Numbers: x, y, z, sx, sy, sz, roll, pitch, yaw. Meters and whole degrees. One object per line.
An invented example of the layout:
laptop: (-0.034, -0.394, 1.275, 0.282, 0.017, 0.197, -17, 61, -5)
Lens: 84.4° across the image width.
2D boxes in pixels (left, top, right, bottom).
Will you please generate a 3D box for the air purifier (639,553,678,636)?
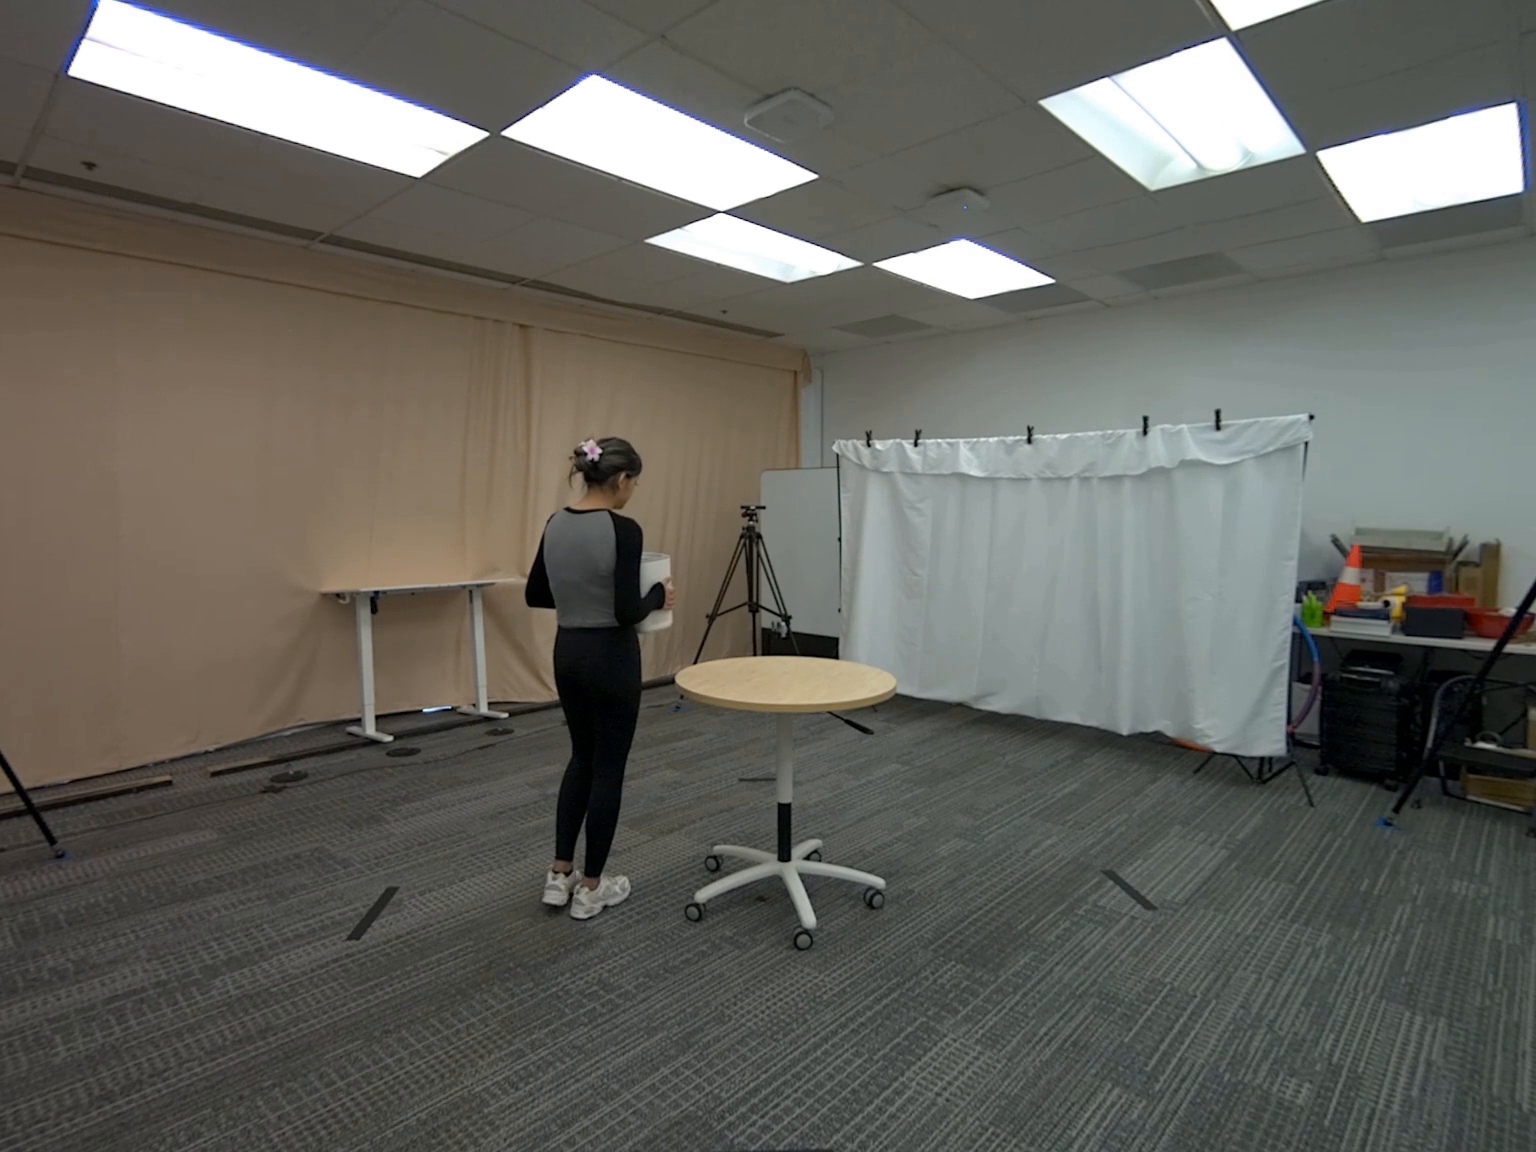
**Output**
air purifier: (-0.420, 0.061, 3.032, 0.171, 0.264, 0.172, 0, 9, 0)
